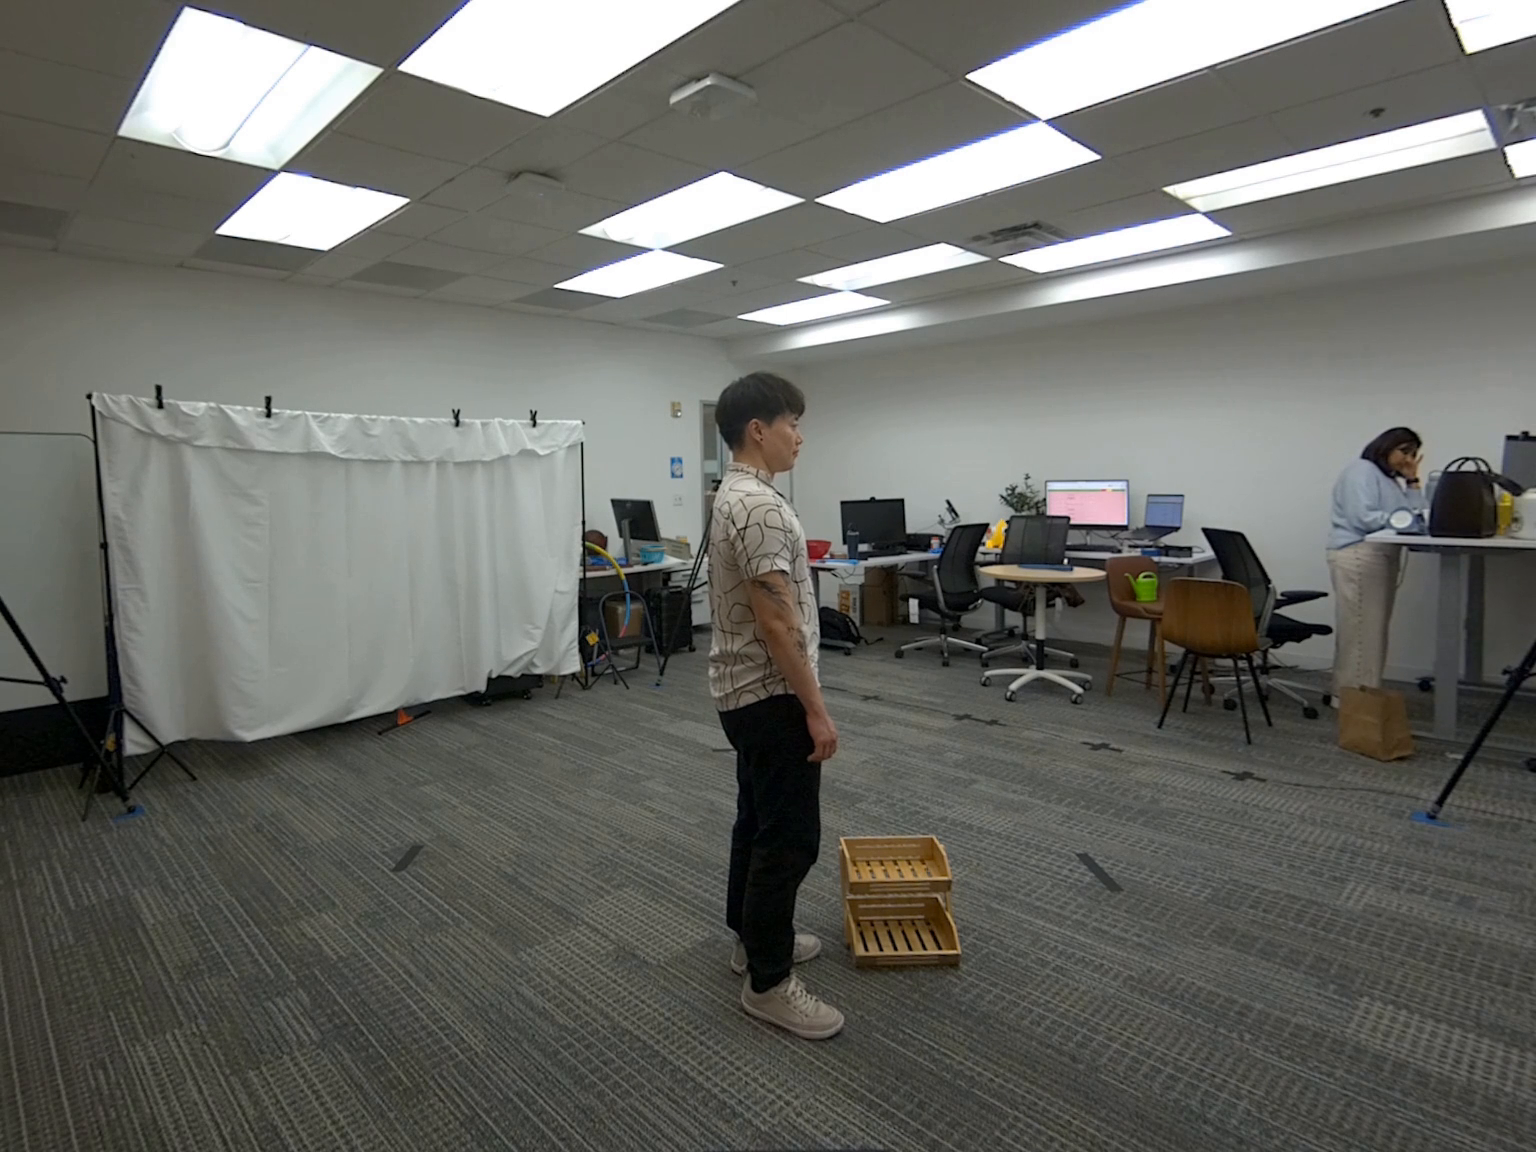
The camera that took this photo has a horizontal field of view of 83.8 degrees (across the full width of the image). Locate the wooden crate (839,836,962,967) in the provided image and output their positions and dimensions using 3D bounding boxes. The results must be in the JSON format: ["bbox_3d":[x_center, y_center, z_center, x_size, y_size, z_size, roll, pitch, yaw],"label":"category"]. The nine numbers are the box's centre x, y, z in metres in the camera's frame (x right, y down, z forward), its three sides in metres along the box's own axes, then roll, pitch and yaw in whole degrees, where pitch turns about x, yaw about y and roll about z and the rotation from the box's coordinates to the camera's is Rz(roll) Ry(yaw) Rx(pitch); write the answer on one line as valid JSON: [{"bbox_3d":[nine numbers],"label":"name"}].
[{"bbox_3d":[0.396,0.969,2.557,0.324,0.272,0.304,-2,5,-3],"label":"wooden crate"}]
